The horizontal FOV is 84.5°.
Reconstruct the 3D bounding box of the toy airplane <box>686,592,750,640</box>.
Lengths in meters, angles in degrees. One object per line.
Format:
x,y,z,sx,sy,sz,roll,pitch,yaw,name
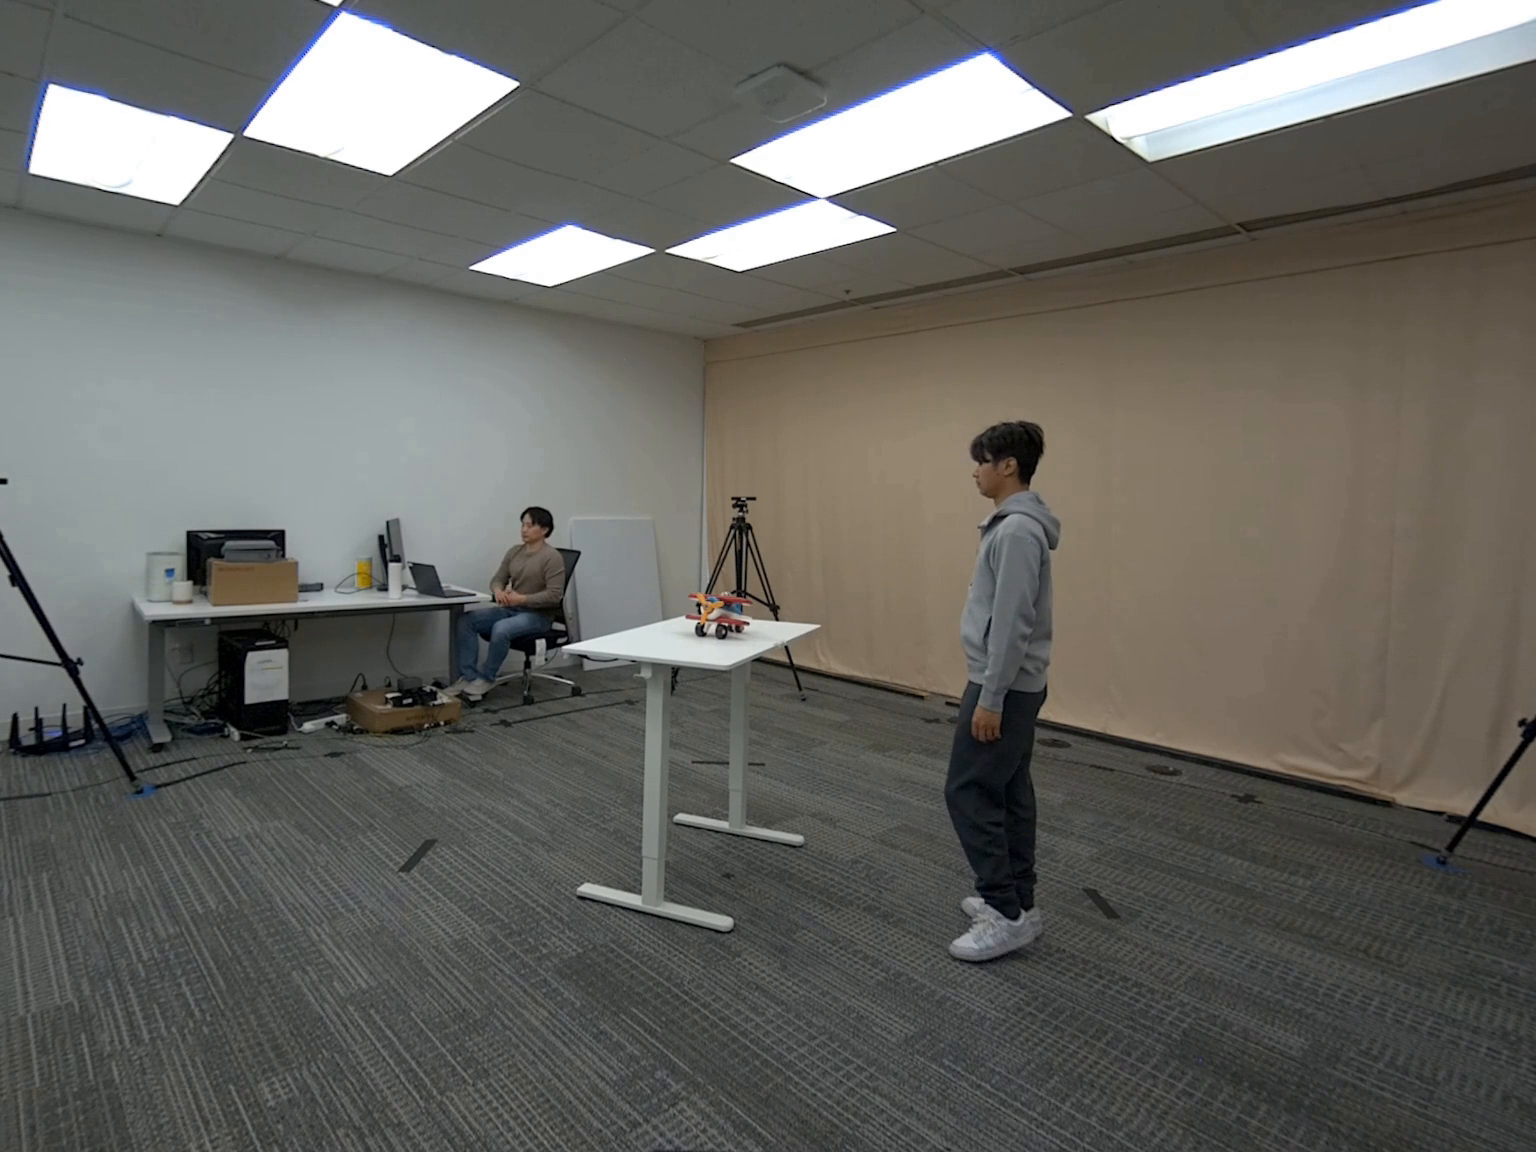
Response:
-0.190,0.144,3.143,0.251,0.156,0.260,3,5,0,toy airplane
